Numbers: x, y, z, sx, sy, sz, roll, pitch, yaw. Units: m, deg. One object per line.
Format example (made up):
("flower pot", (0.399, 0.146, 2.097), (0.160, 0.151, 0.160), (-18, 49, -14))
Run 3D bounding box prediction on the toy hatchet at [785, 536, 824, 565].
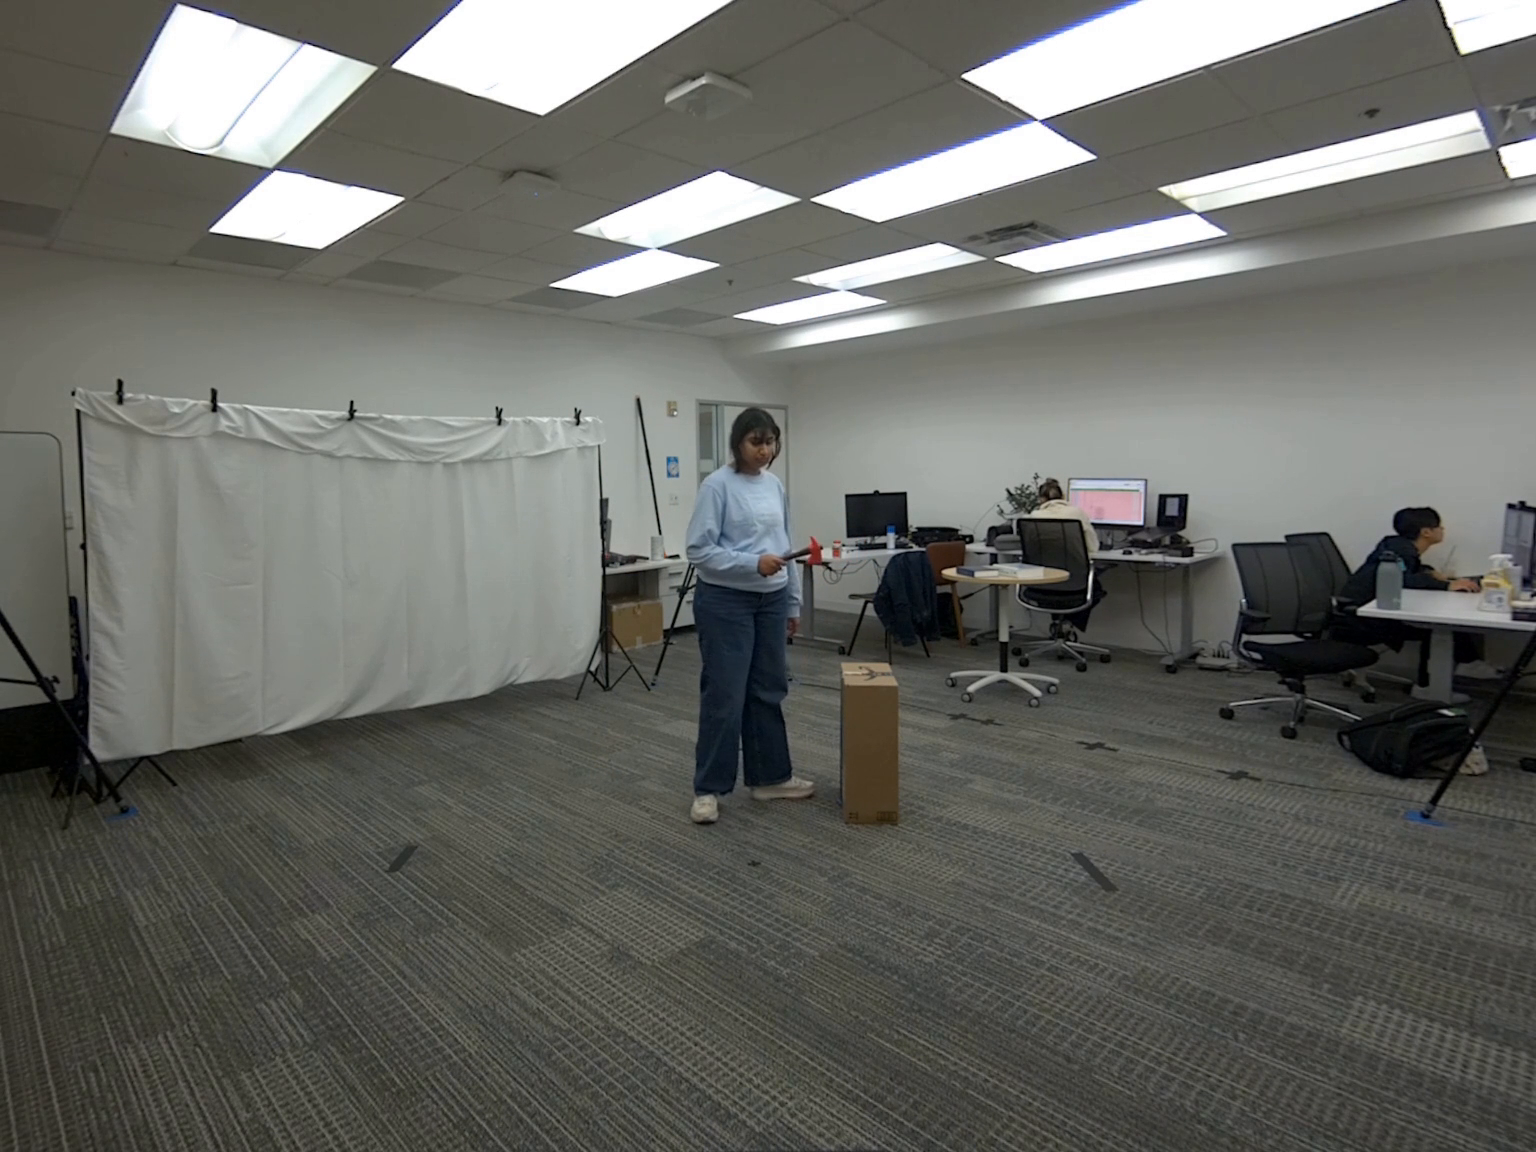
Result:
("toy hatchet", (0.101, -0.053, 3.427), (0.272, 0.127, 0.030), (-31, 31, 18))
